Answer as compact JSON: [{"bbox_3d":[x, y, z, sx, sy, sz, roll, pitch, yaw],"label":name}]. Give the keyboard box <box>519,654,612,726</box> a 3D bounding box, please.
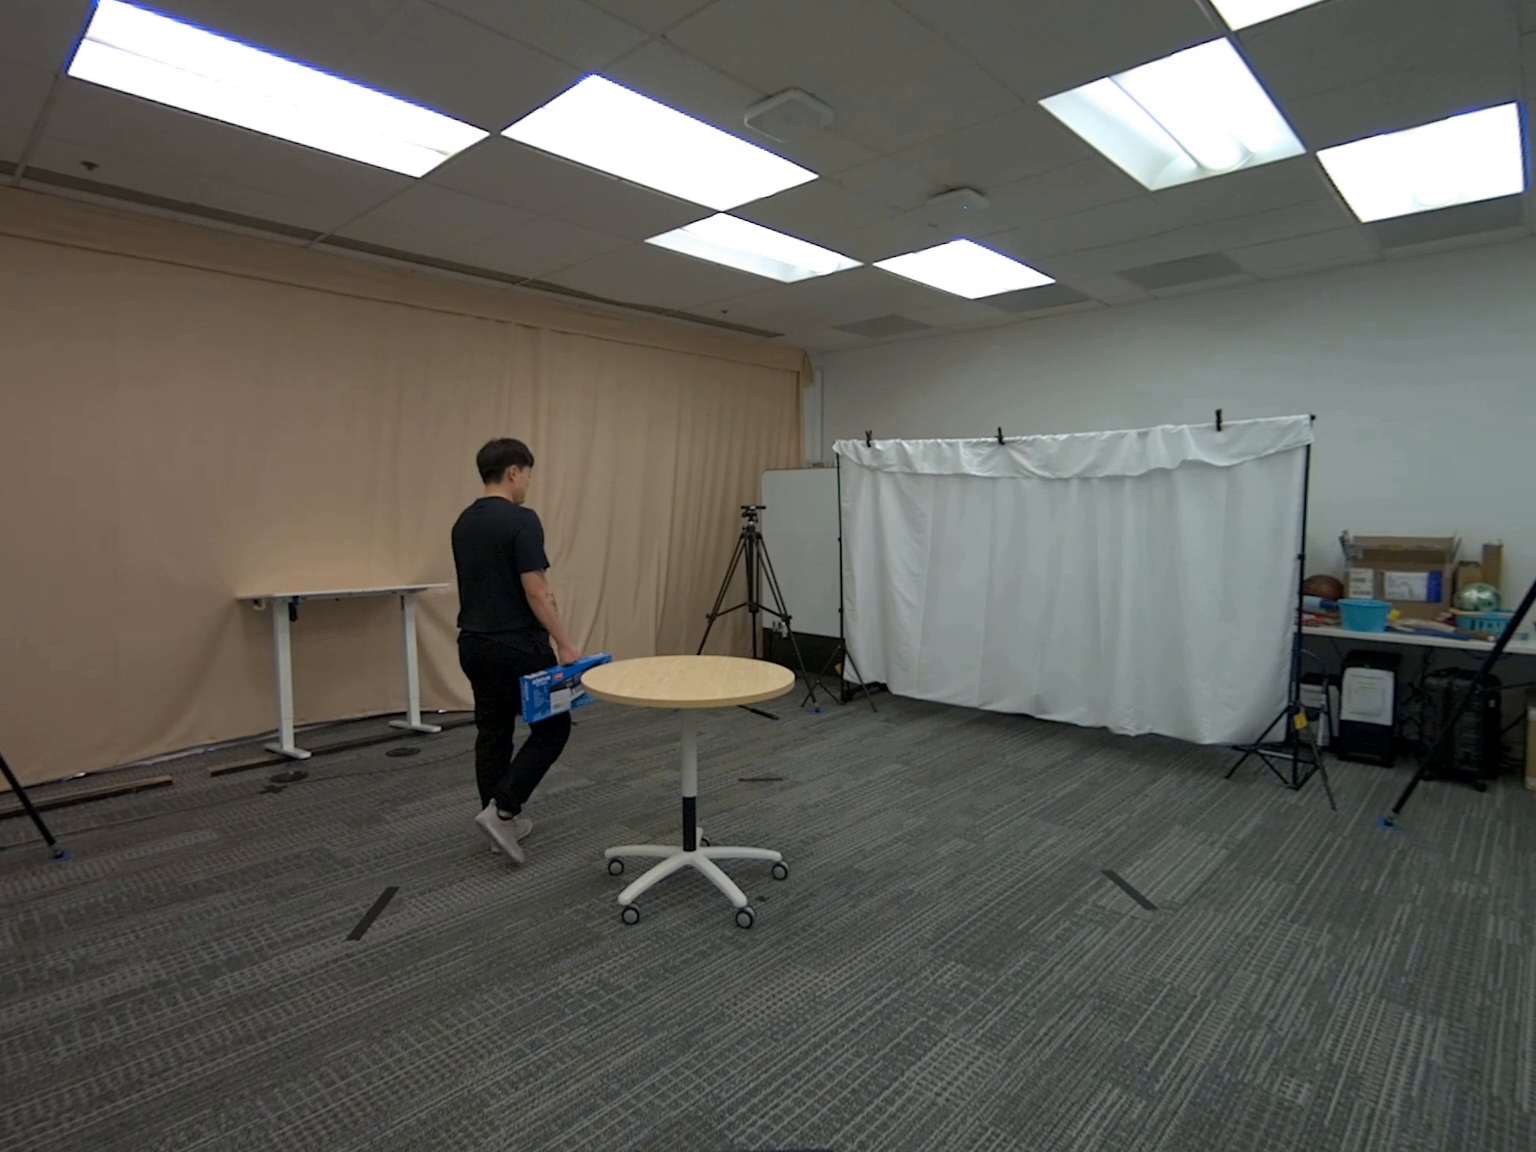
[{"bbox_3d":[-0.792,0.443,3.333,0.061,0.175,0.425,4,10,34],"label":"keyboard box"}]
